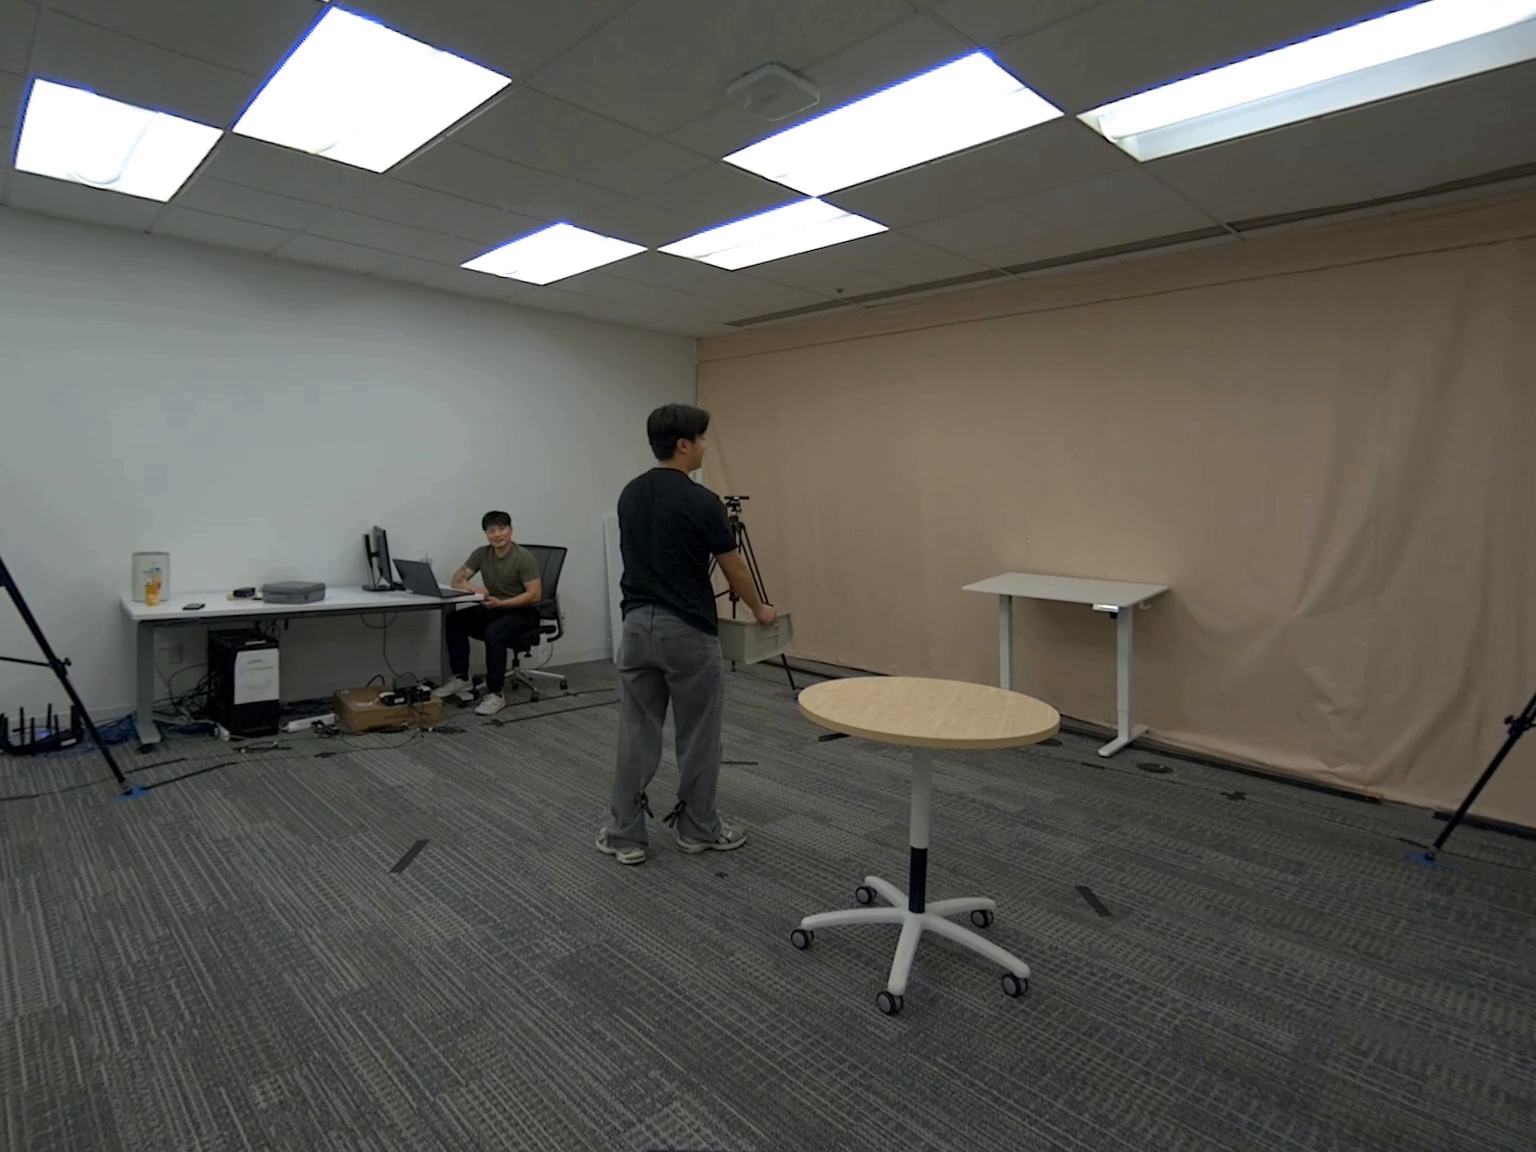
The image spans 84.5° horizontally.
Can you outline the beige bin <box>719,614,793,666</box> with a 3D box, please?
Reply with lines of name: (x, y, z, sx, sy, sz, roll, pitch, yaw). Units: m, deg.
beige bin: (-0.170, 0.236, 3.626, 0.432, 0.188, 0.370, 7, 10, 32)
